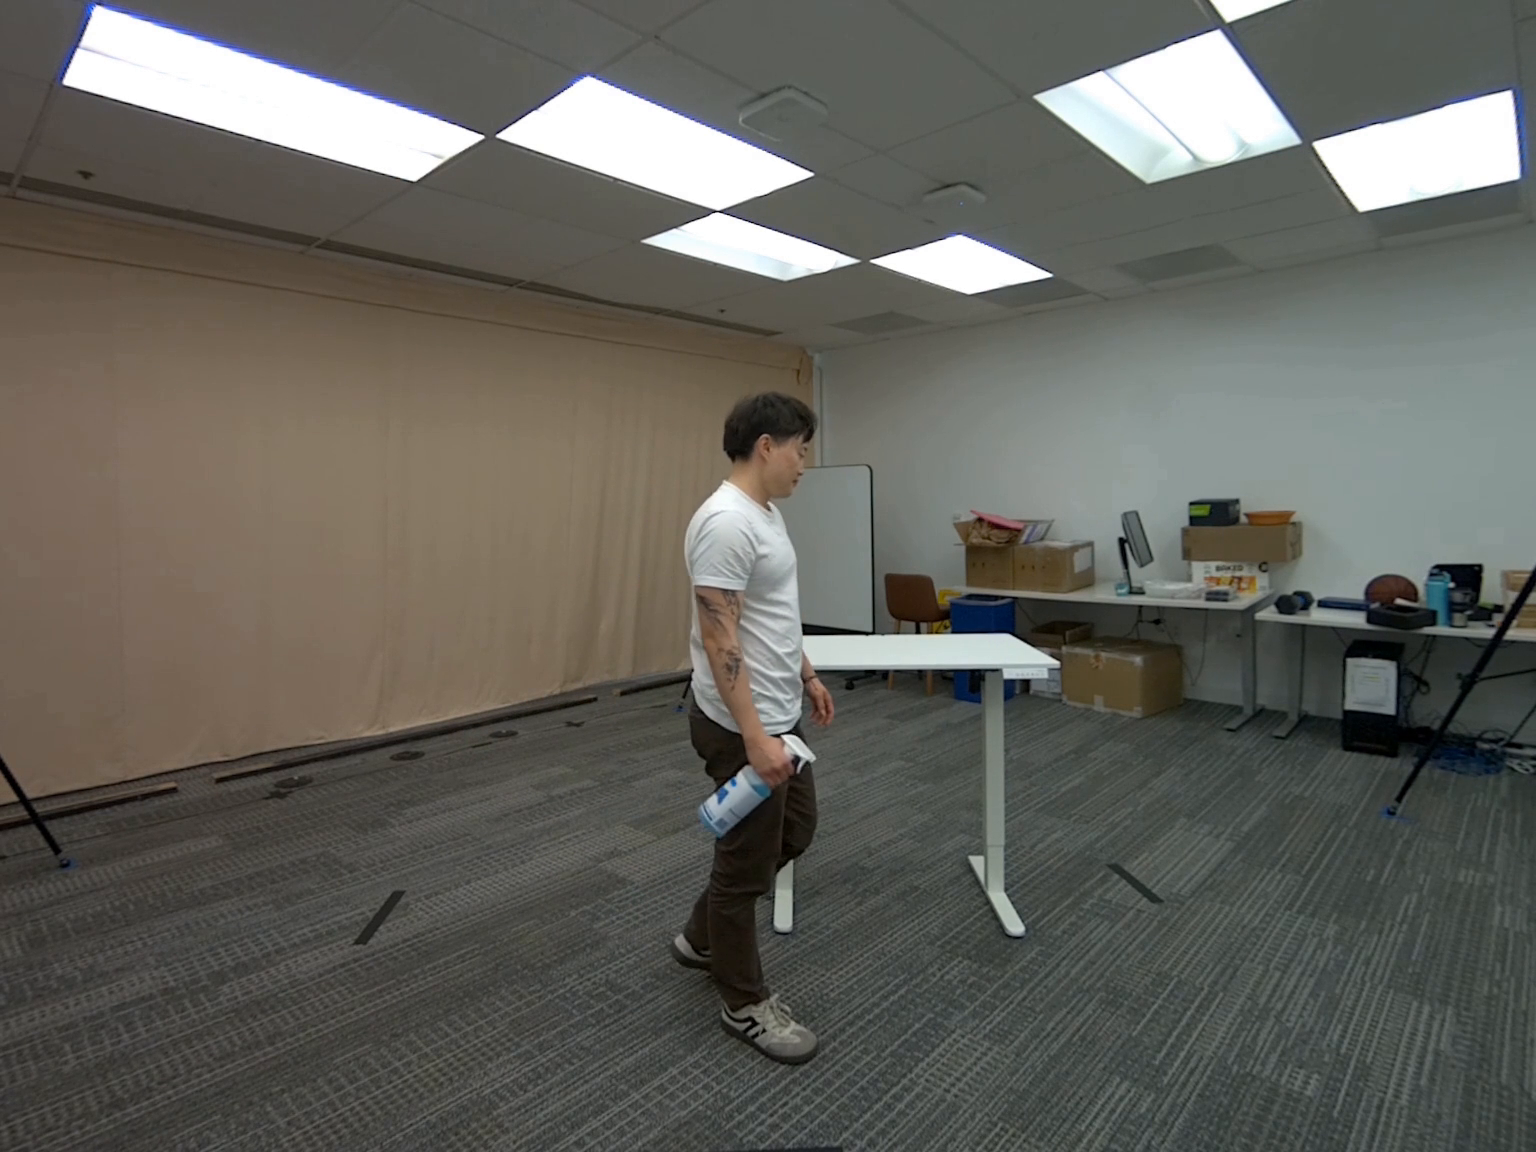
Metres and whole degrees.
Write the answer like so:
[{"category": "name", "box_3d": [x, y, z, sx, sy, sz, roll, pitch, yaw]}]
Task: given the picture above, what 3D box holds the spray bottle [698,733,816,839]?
[{"category": "spray bottle", "box_3d": [-0.029, 0.479, 1.975, 0.084, 0.298, 0.093, 45, 7, -44]}]
